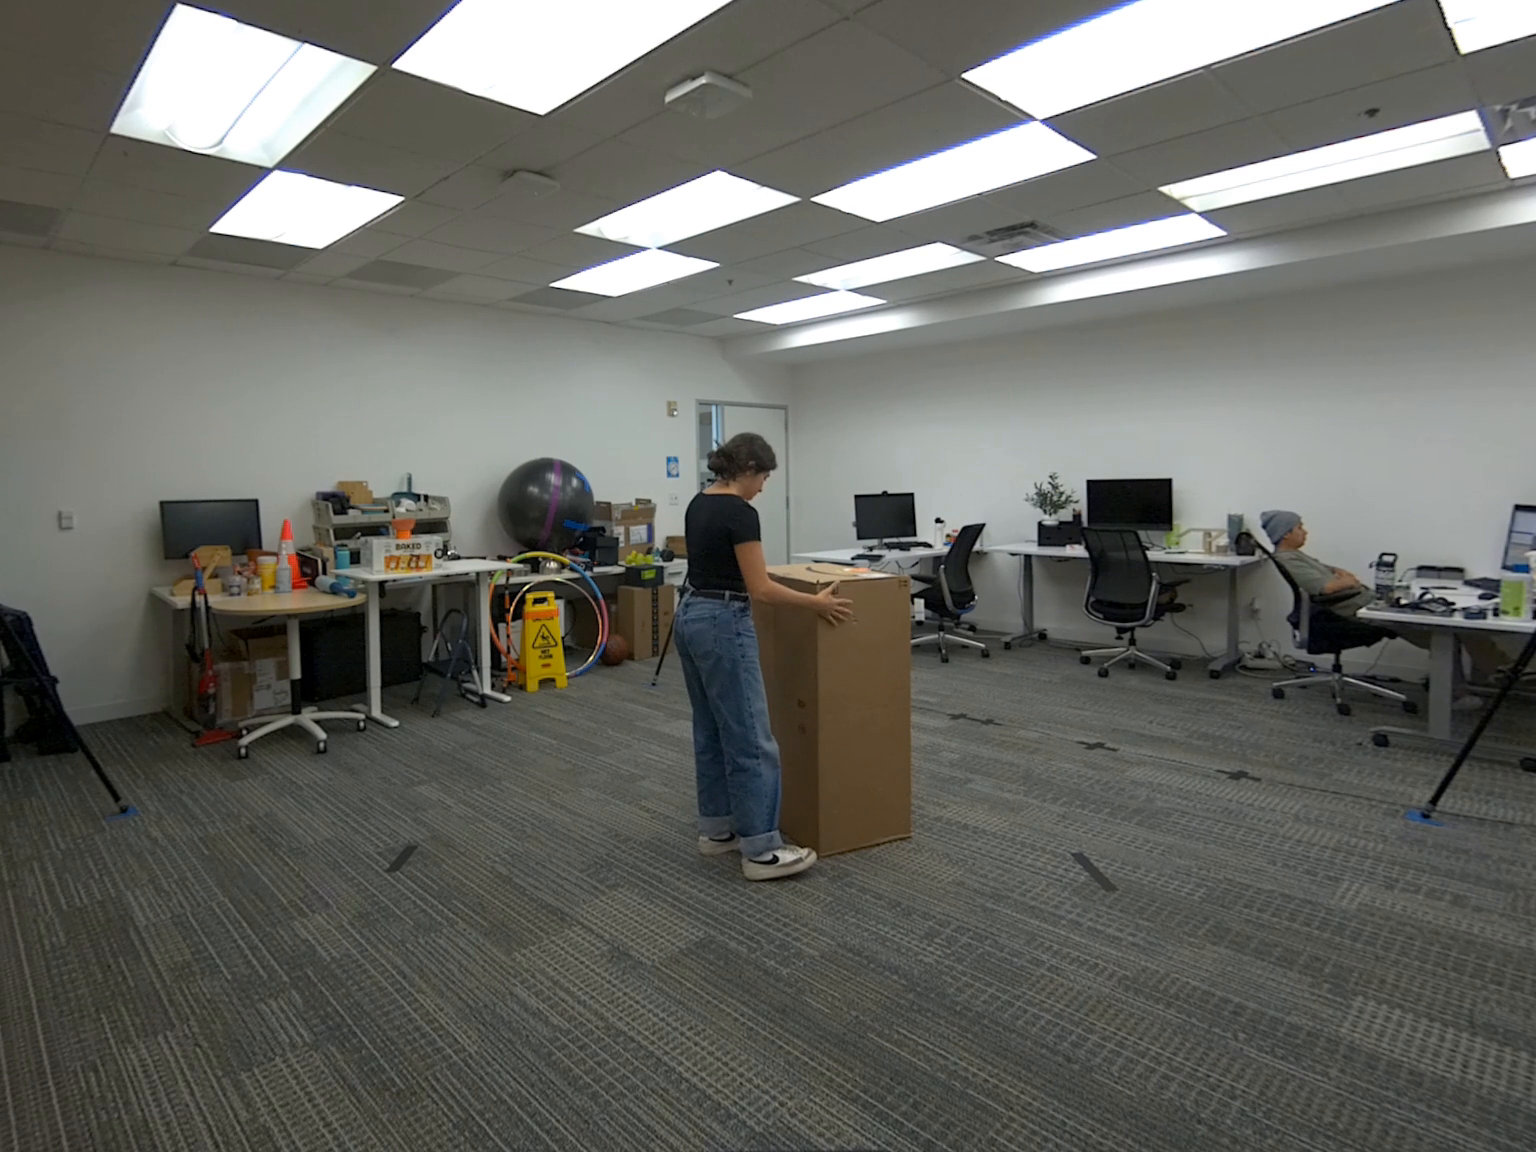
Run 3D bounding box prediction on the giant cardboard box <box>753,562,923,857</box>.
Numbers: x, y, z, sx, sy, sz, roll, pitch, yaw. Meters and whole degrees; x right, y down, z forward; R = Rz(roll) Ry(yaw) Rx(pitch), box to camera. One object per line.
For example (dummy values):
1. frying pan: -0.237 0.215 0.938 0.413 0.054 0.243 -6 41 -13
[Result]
1. giant cardboard box: 0.236 0.495 3.456 0.417 1.022 0.593 -3 5 -28
